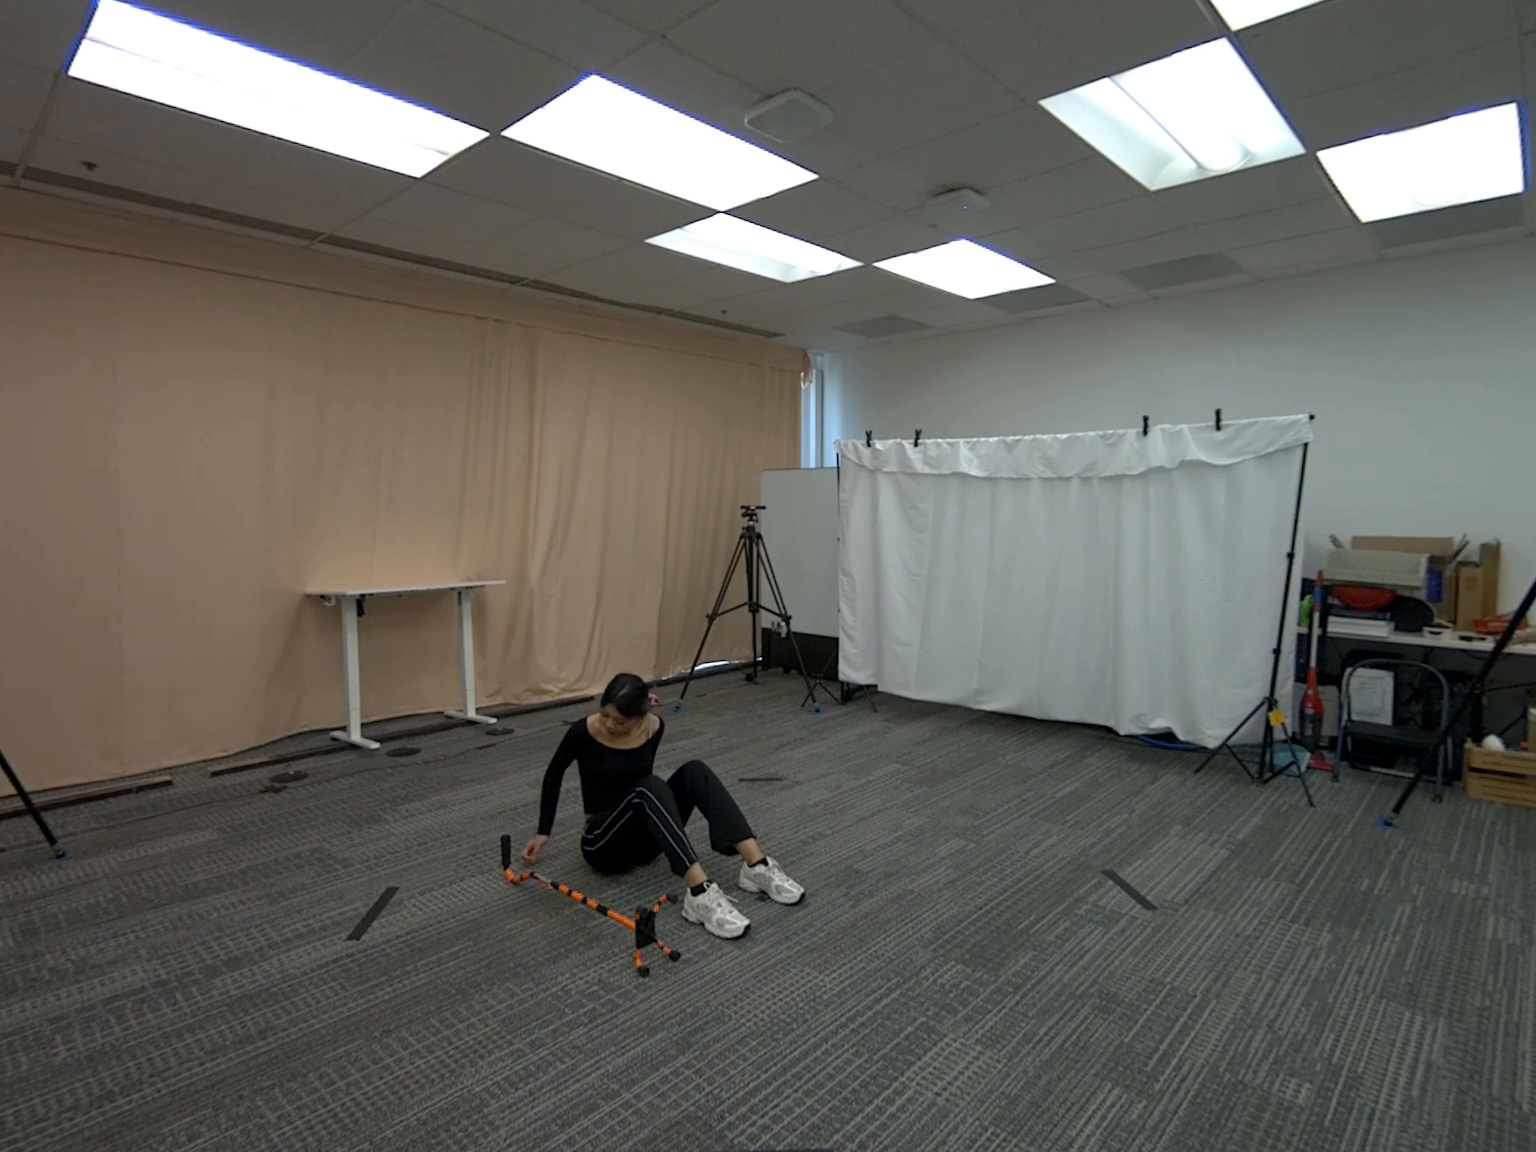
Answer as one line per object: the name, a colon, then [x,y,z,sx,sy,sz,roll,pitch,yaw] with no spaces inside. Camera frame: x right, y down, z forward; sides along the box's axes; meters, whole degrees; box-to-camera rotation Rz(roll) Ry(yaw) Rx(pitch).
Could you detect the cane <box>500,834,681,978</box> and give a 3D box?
cane: [-0.655,1.065,2.859,0.147,0.206,0.937,-5,4,-45]
